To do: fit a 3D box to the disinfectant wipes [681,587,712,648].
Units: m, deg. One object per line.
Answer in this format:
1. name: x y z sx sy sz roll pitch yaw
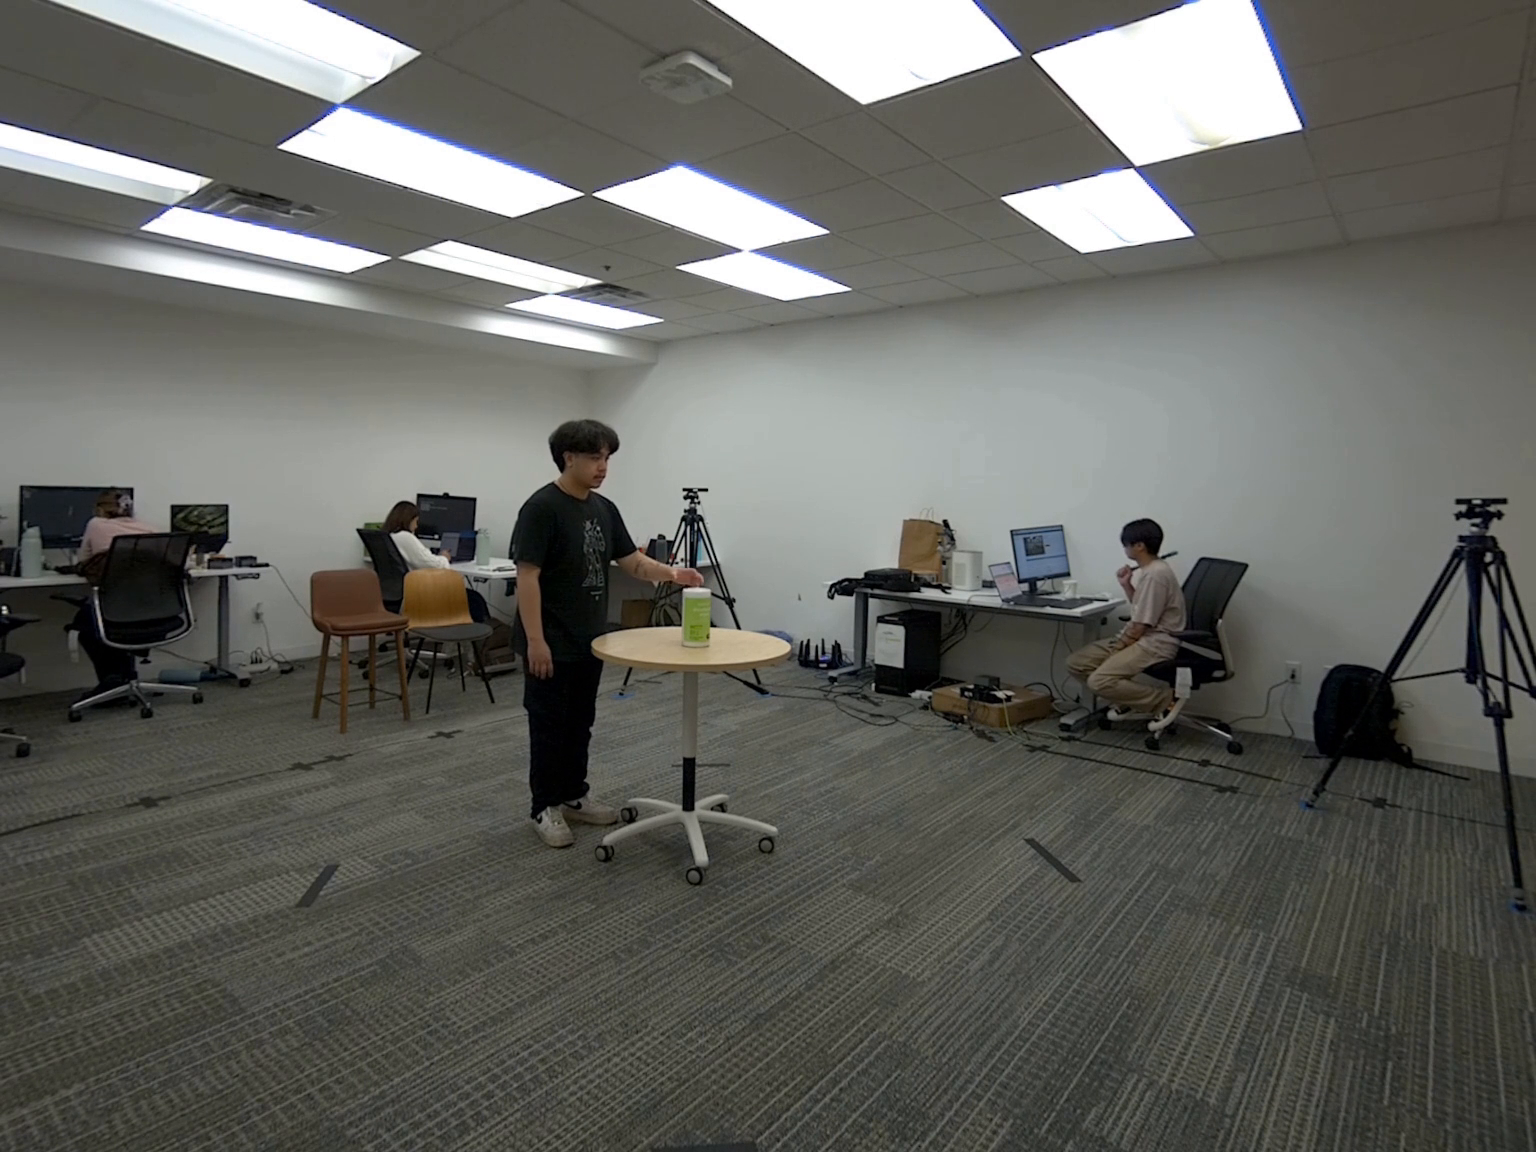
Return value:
1. disinfectant wipes: -0.287 0.158 3.247 0.118 0.217 0.118 0 4 -2
